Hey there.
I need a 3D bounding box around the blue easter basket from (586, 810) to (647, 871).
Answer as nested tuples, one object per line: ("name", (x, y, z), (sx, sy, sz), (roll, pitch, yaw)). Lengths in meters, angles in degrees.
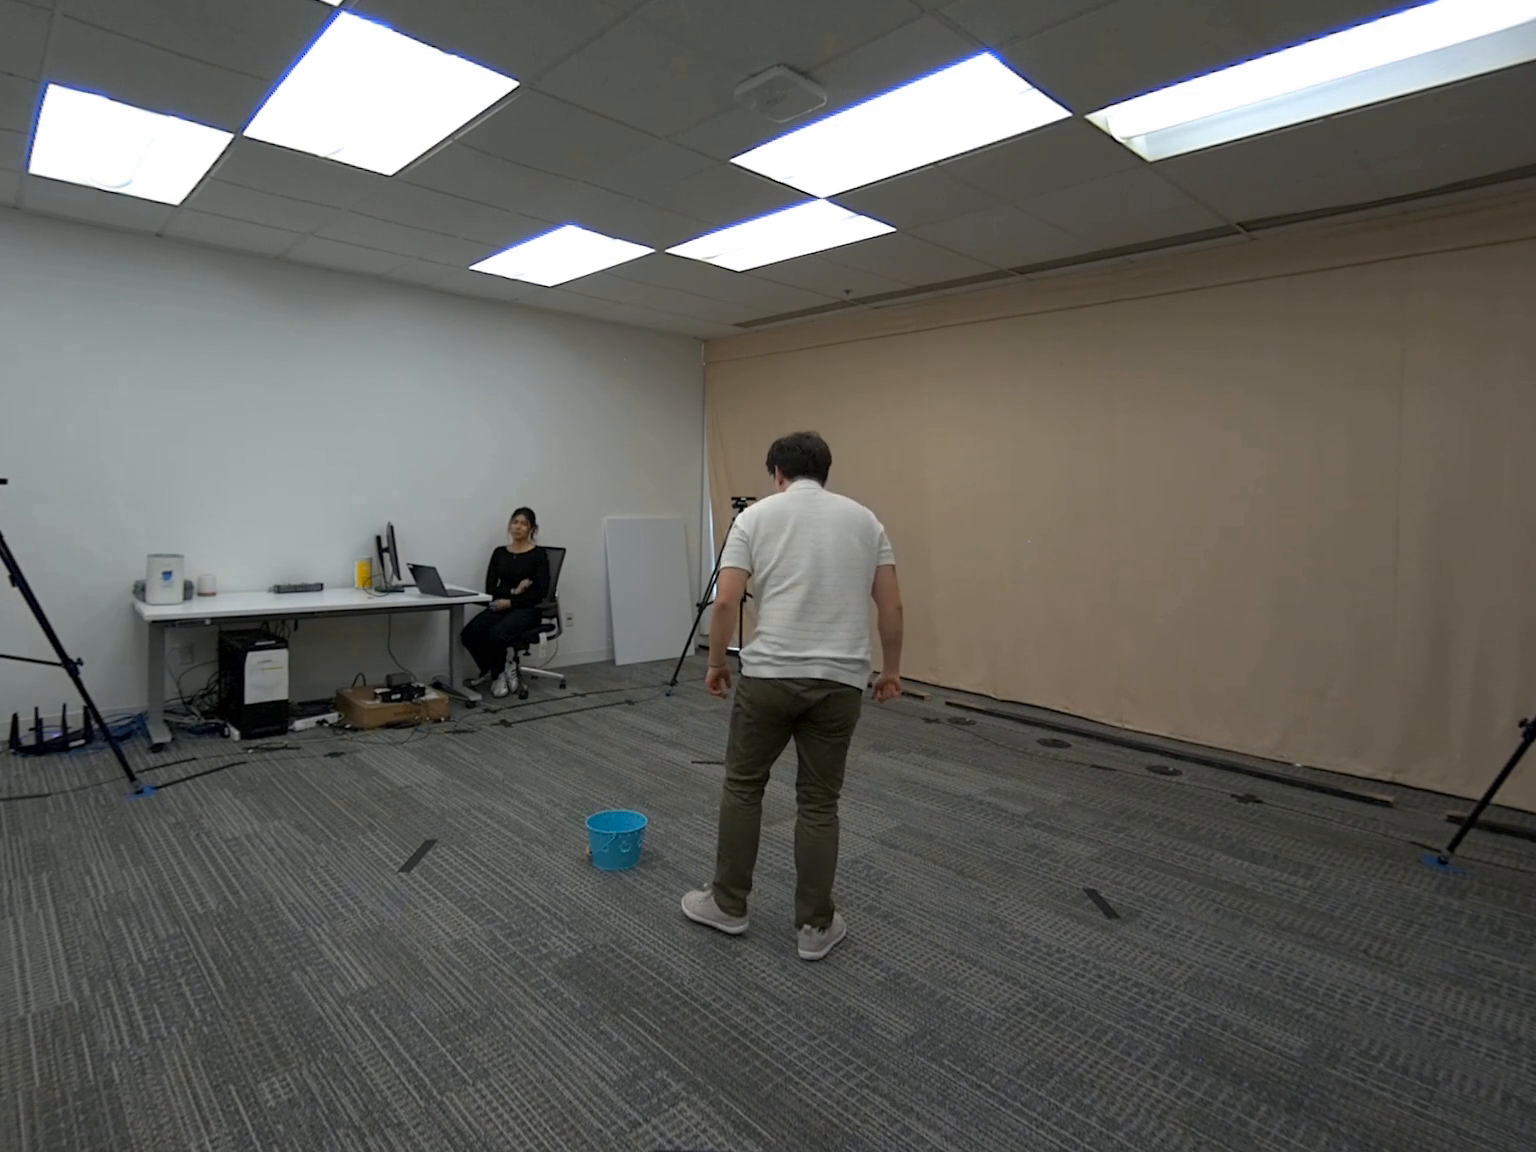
("blue easter basket", (-0.592, 1.009, 3.218), (0.243, 0.155, 0.244), (2, 4, -2))
